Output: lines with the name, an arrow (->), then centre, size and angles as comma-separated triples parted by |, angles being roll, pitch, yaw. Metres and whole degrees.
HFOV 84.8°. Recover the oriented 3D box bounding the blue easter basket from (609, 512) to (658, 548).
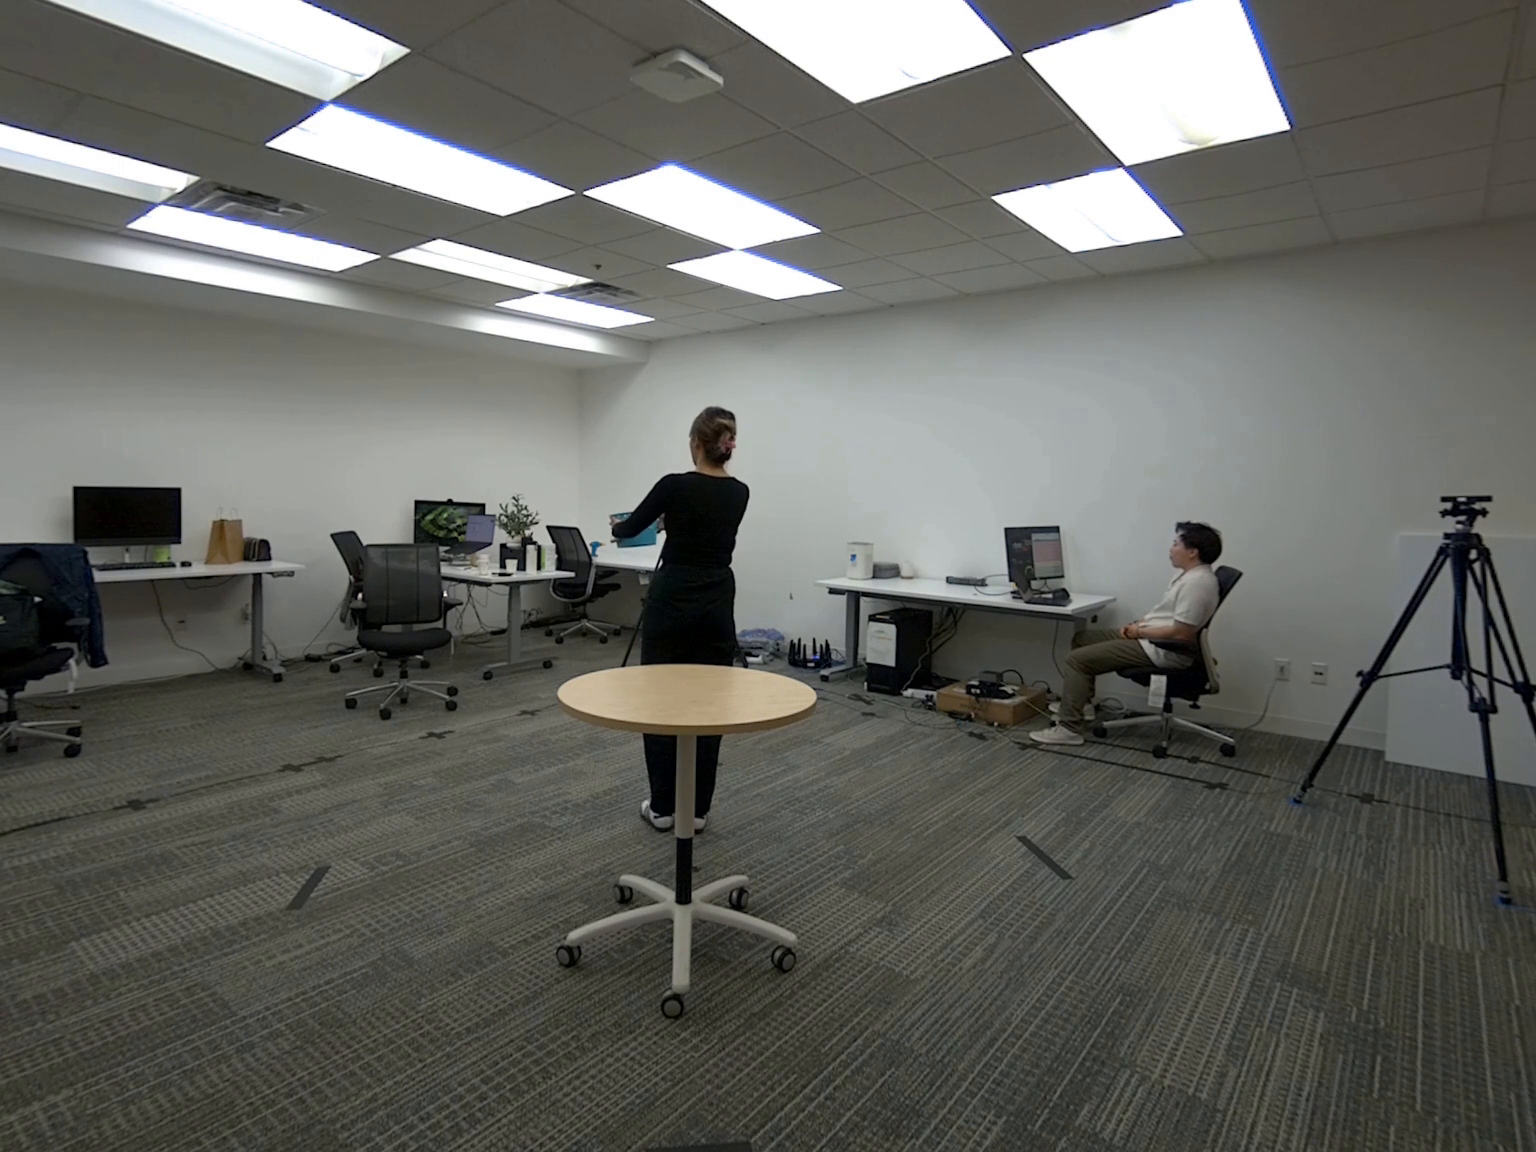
blue easter basket -> -0.632, -0.217, 3.934 | 0.243, 0.156, 0.244 | -3, 1, -2
